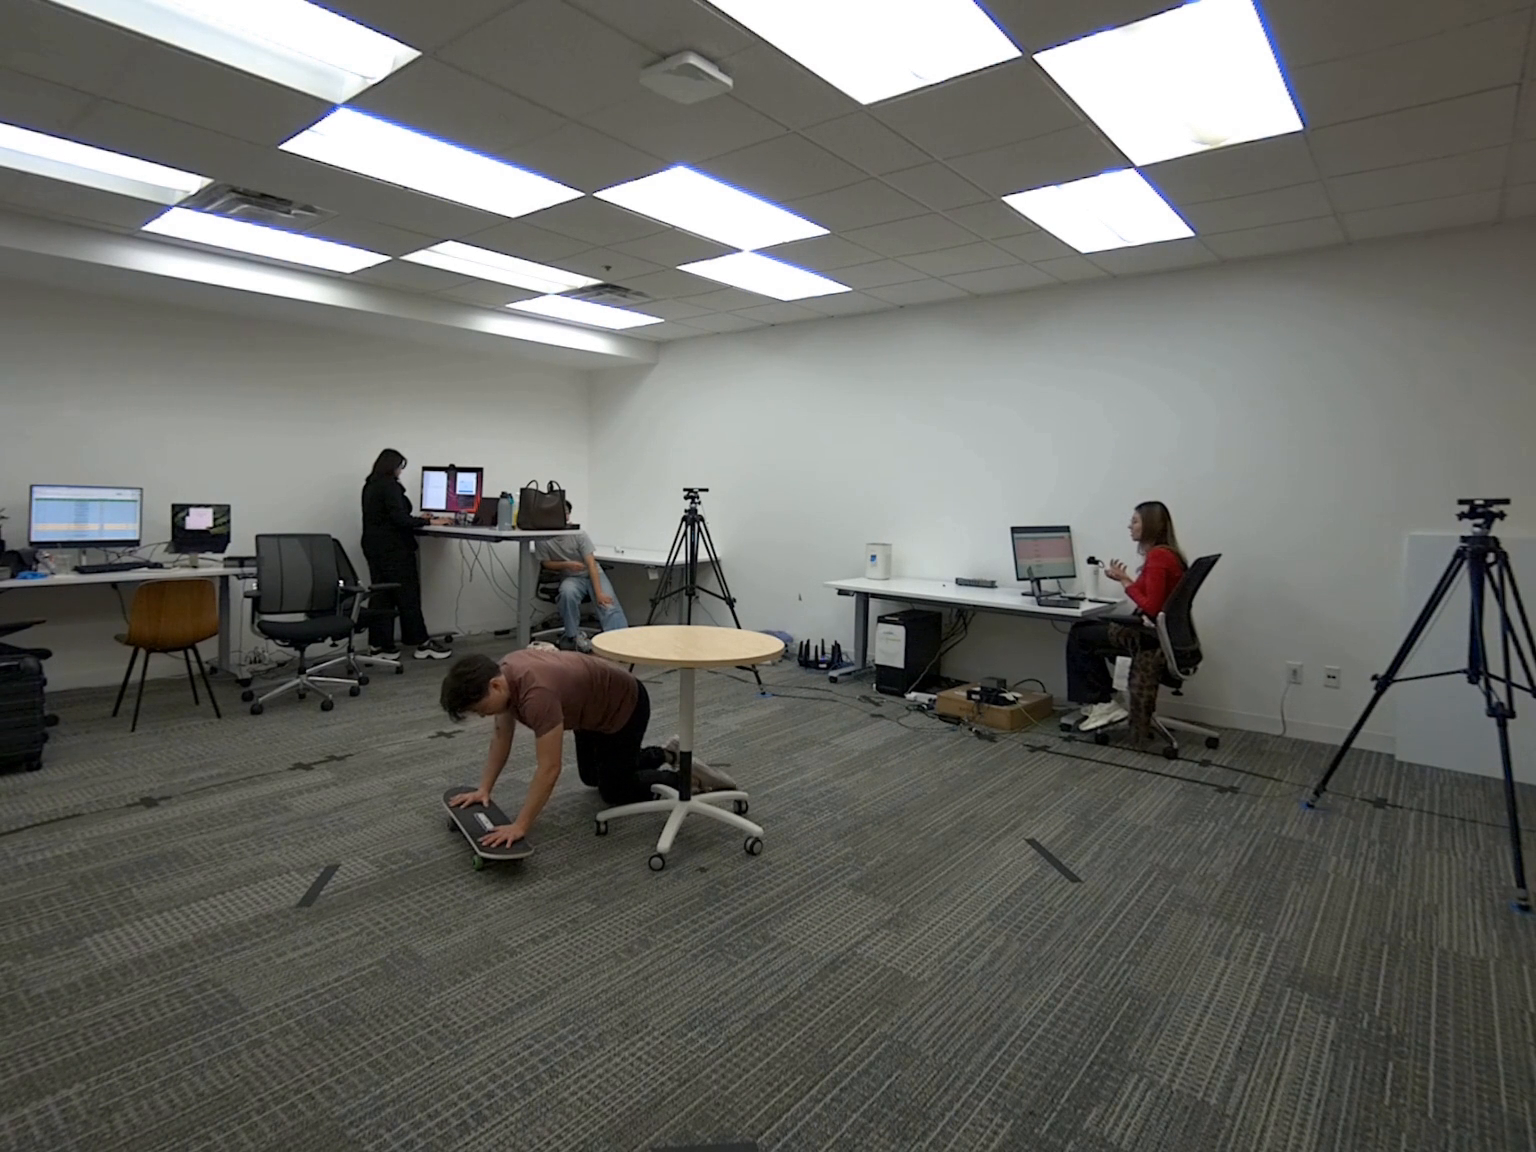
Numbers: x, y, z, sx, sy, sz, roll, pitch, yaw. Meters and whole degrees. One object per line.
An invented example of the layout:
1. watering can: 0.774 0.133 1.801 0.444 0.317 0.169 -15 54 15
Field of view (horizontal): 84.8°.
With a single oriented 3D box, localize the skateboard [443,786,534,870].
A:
1. skateboard: -1.102 0.980 3.286 0.188 0.110 0.810 2 4 -32
